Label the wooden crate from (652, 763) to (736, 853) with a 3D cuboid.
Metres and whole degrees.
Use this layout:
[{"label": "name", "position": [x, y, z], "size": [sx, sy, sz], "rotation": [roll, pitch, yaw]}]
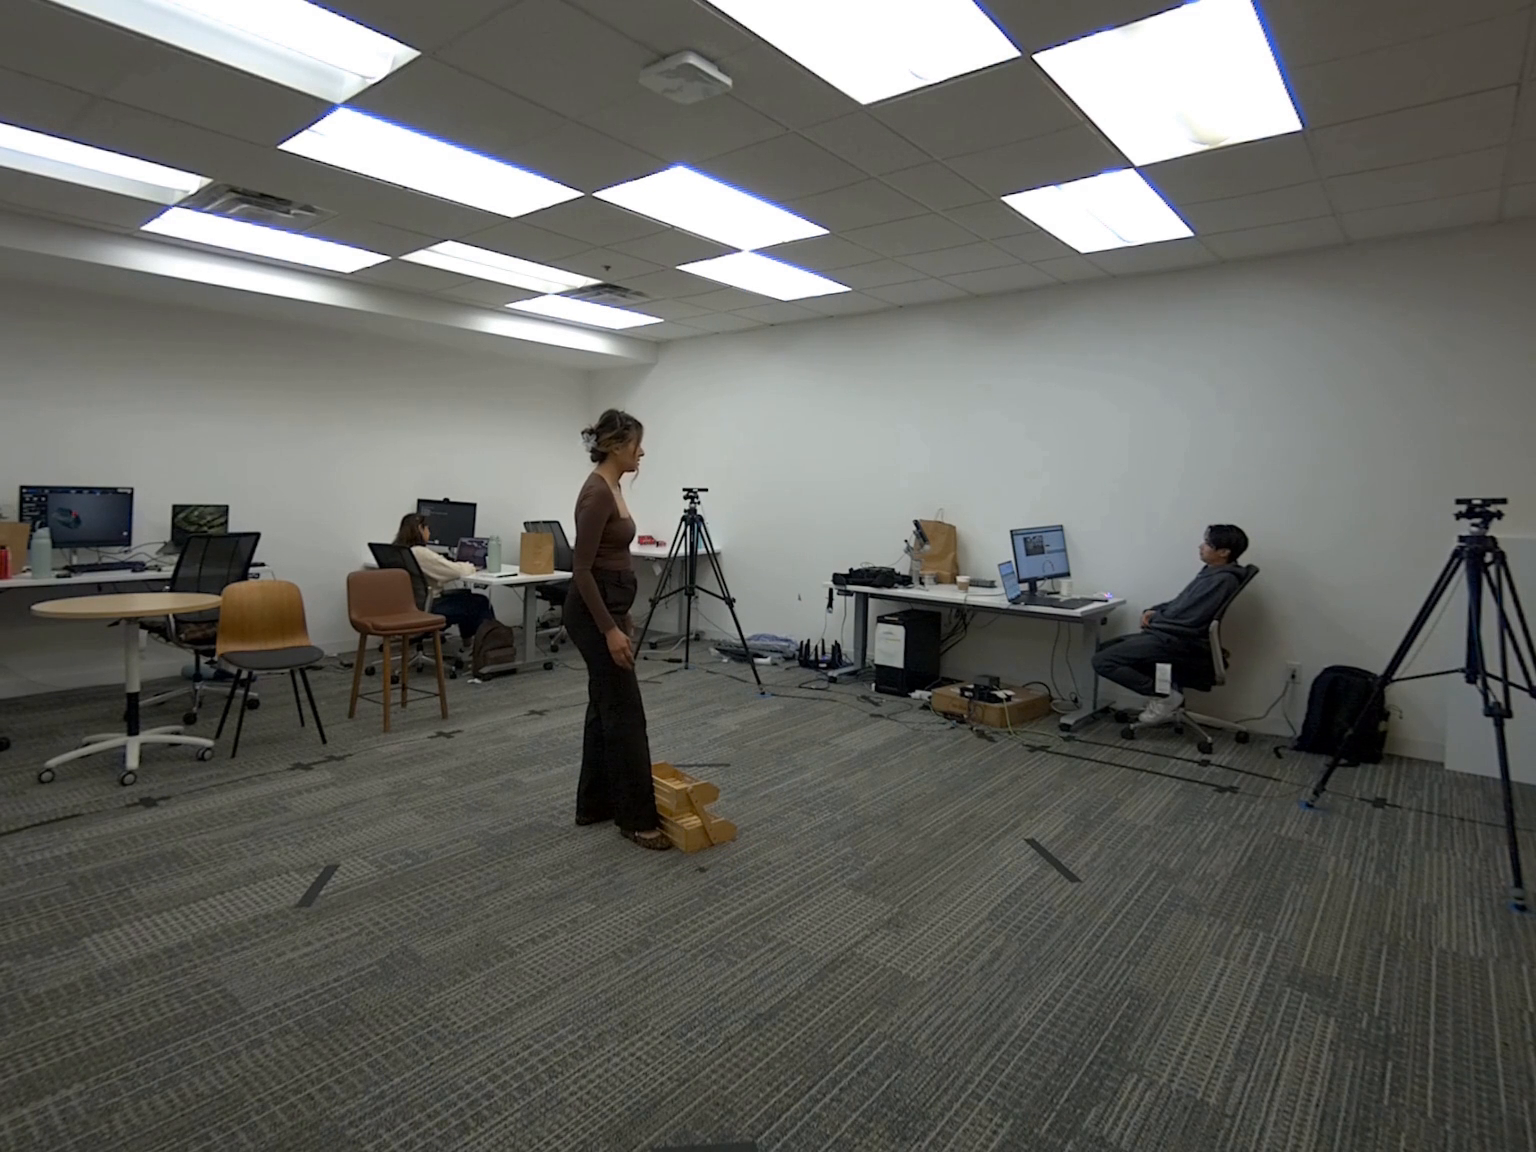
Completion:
[{"label": "wooden crate", "position": [-0.337, 0.906, 3.419], "size": [0.293, 0.272, 0.335], "rotation": [-3, 6, -39]}]
